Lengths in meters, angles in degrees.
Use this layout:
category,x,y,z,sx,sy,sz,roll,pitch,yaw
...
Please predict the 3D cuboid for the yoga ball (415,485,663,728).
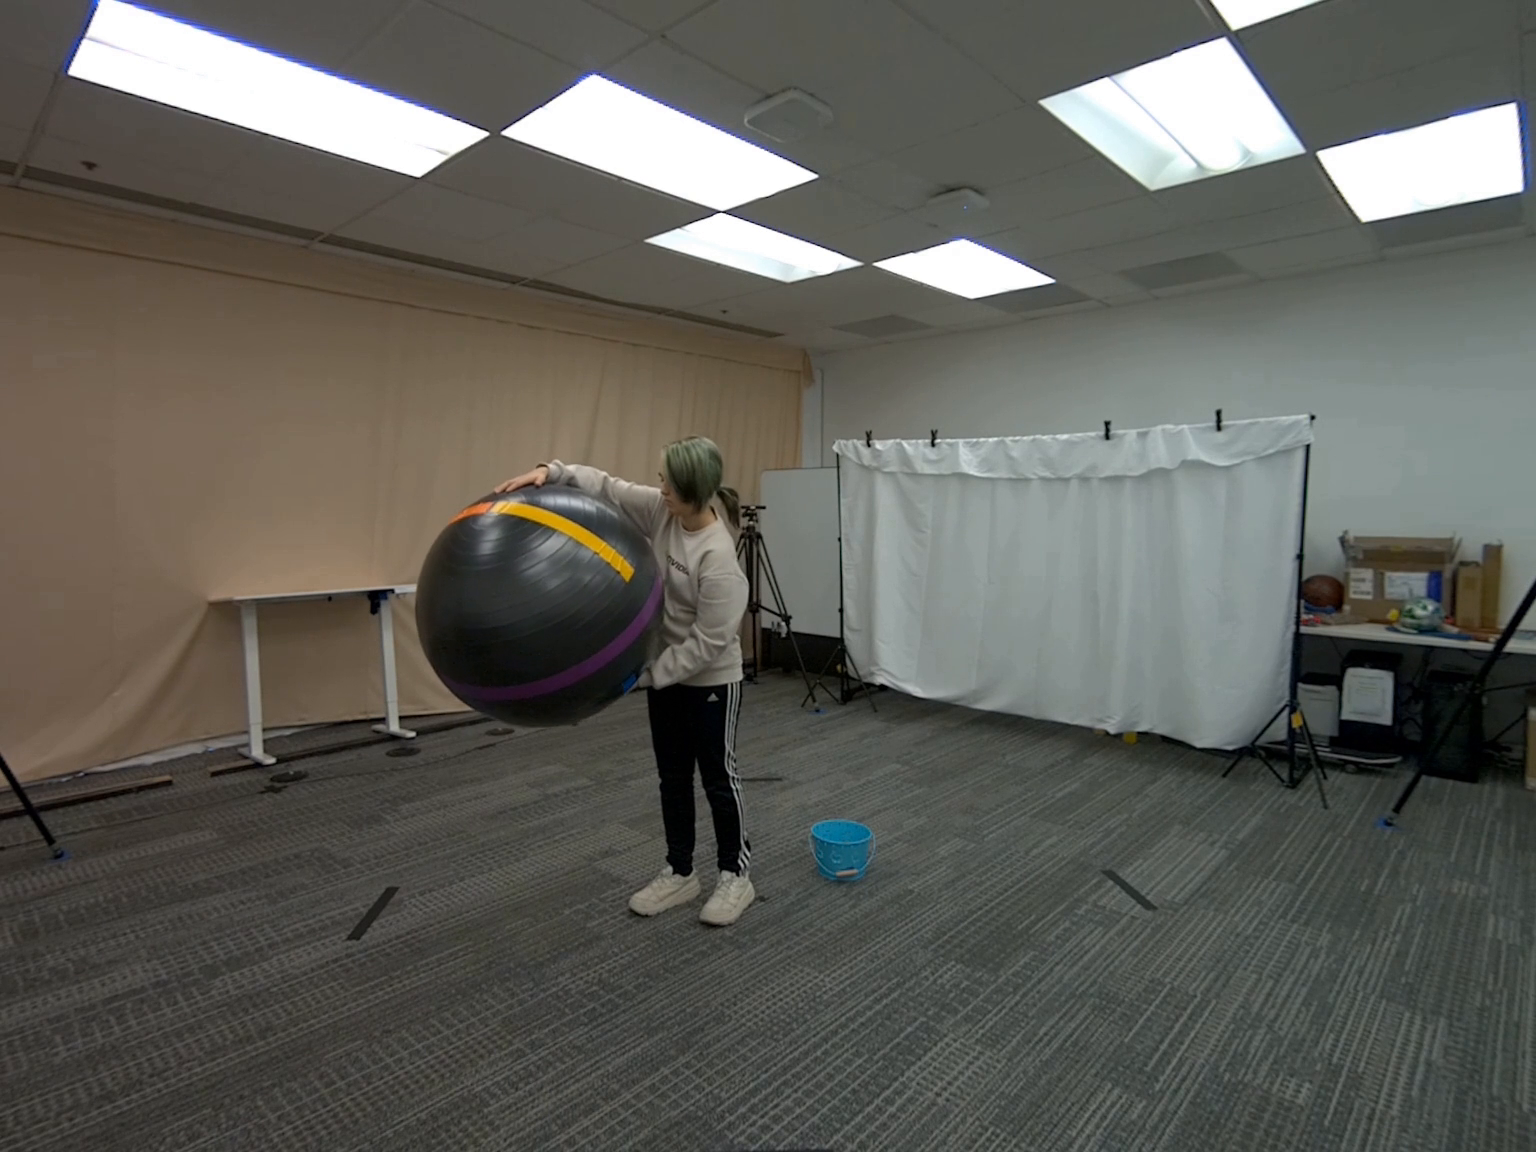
category,x,y,z,sx,sy,sz,roll,pitch,yaw
yoga ball,-0.704,0.090,2.626,0.757,0.756,0.761,0,4,-2
